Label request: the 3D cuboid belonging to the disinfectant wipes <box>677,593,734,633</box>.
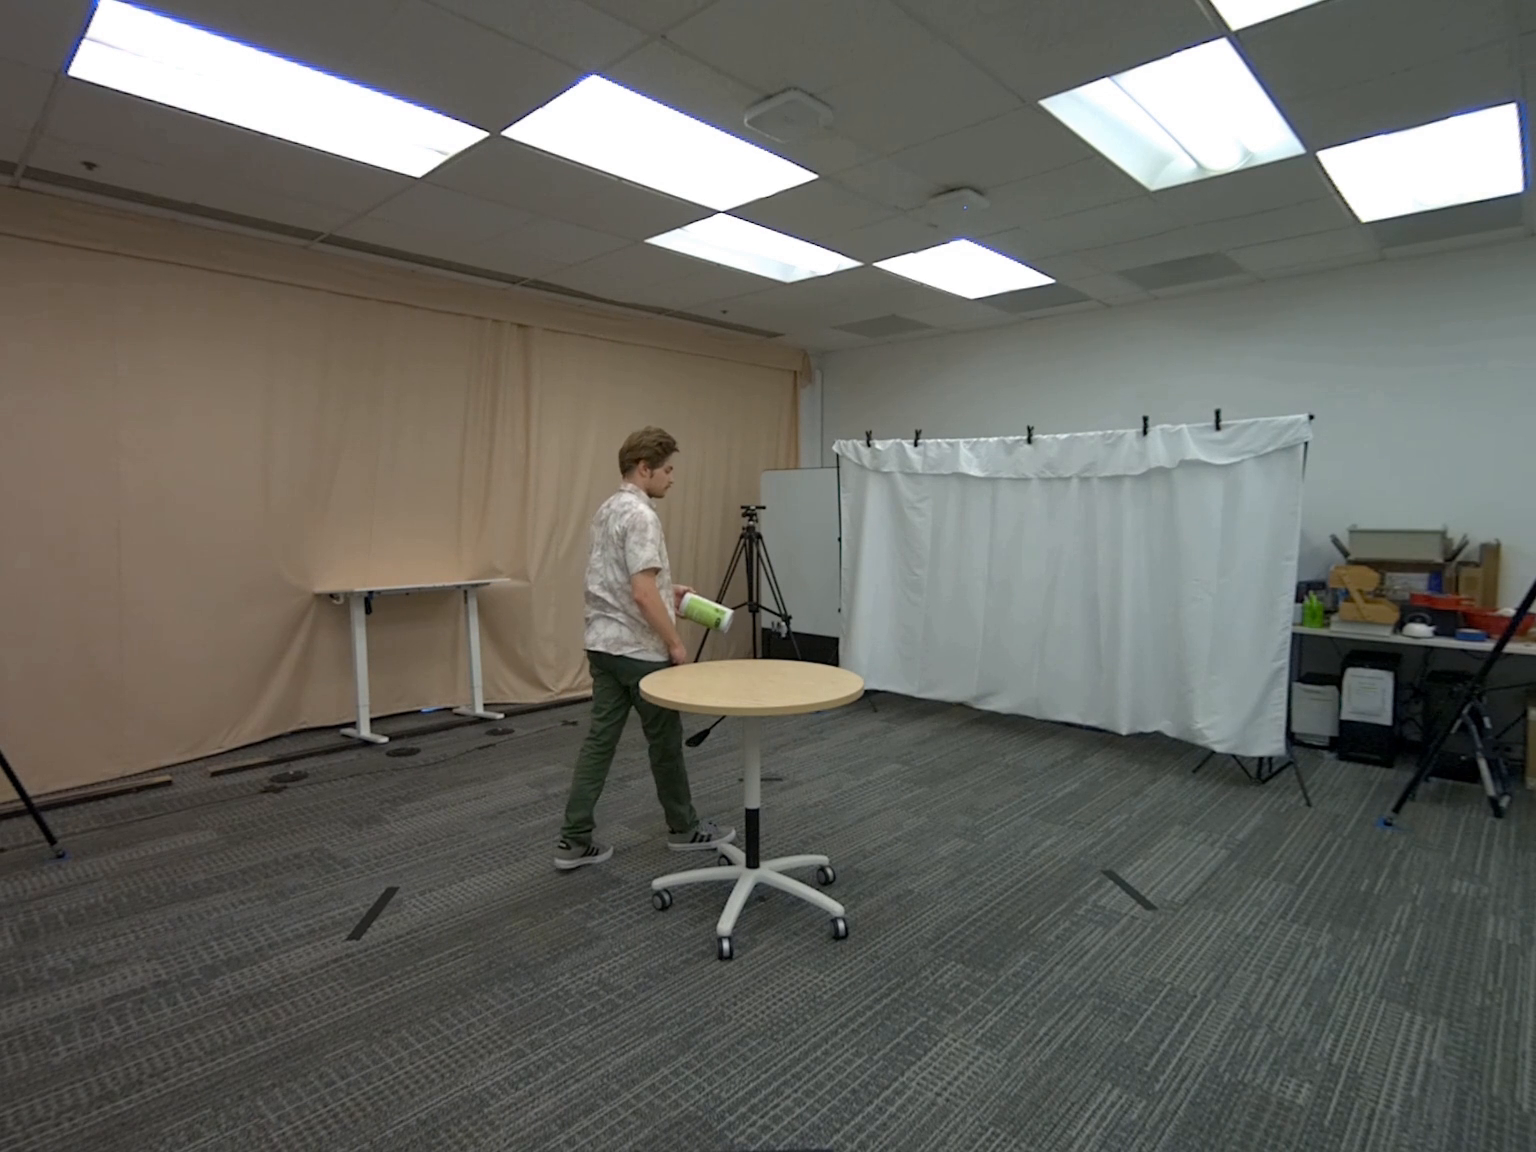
[{"bbox_3d":[-0.256,0.153,3.535,0.220,0.117,0.117,23,7,8],"label":"disinfectant wipes"}]
